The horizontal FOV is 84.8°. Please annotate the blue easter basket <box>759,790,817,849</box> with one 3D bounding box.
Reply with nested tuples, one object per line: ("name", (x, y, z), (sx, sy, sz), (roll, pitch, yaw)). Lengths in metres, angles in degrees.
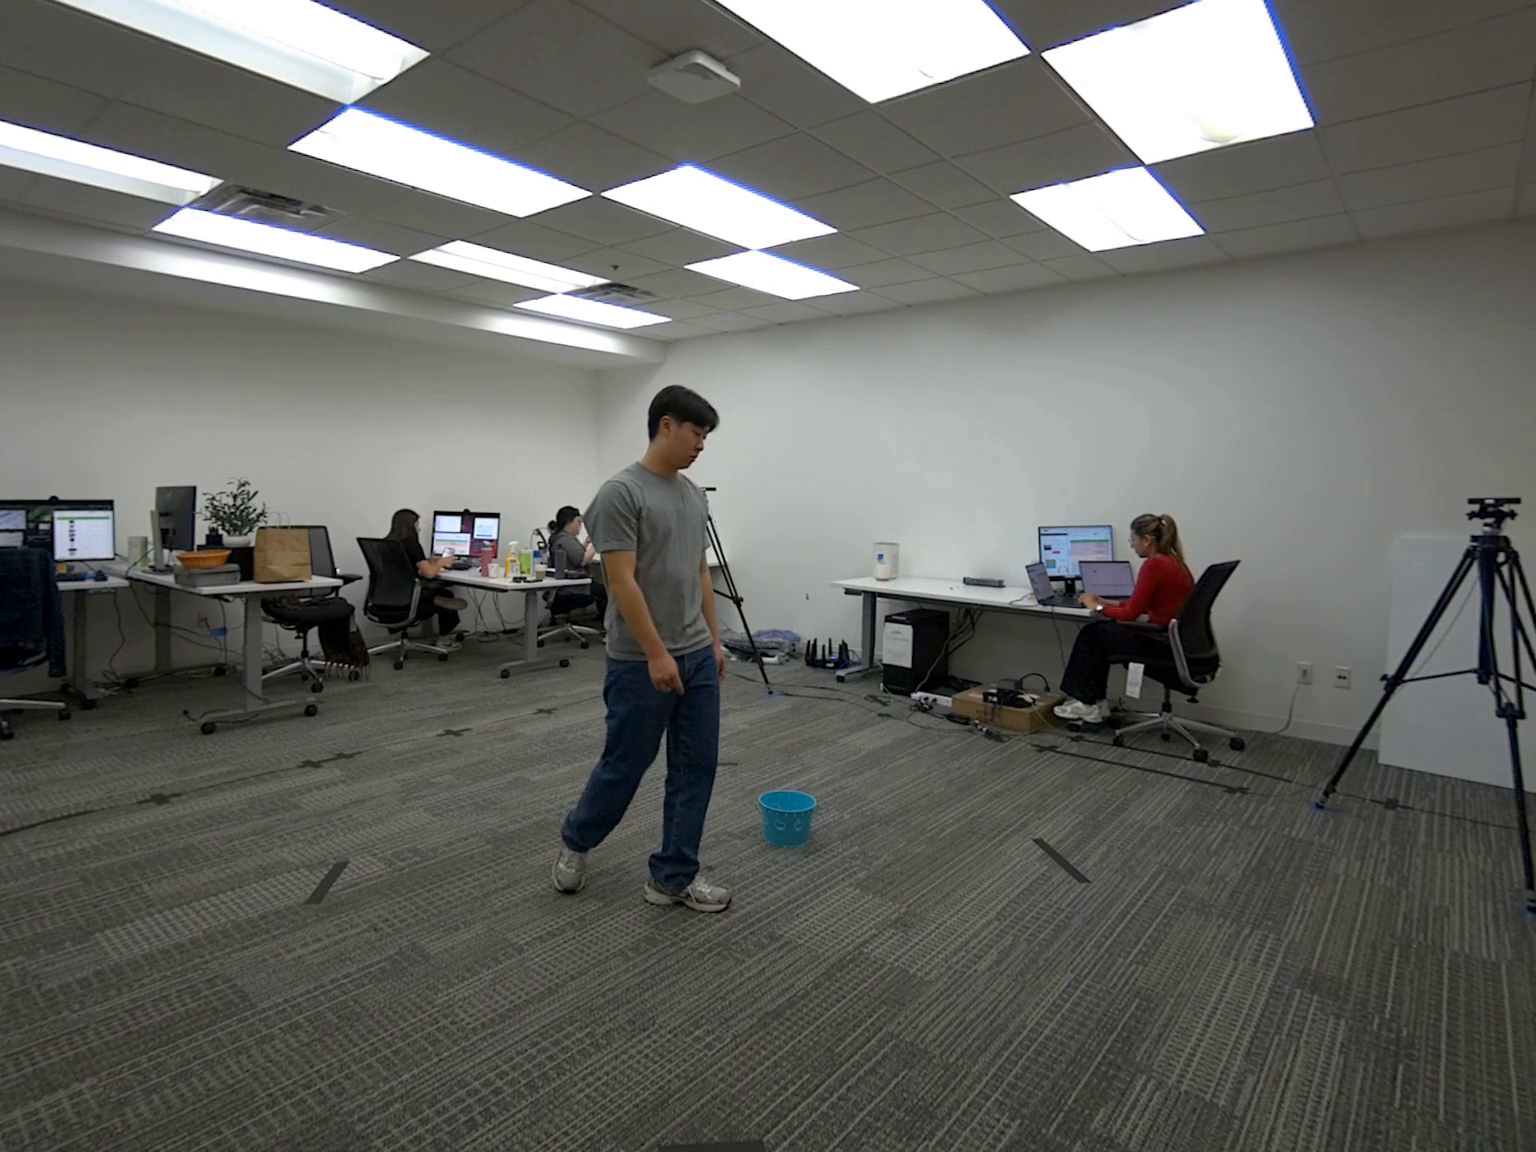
("blue easter basket", (0.072, 0.966, 3.398), (0.243, 0.155, 0.245), (1, 5, -2))
